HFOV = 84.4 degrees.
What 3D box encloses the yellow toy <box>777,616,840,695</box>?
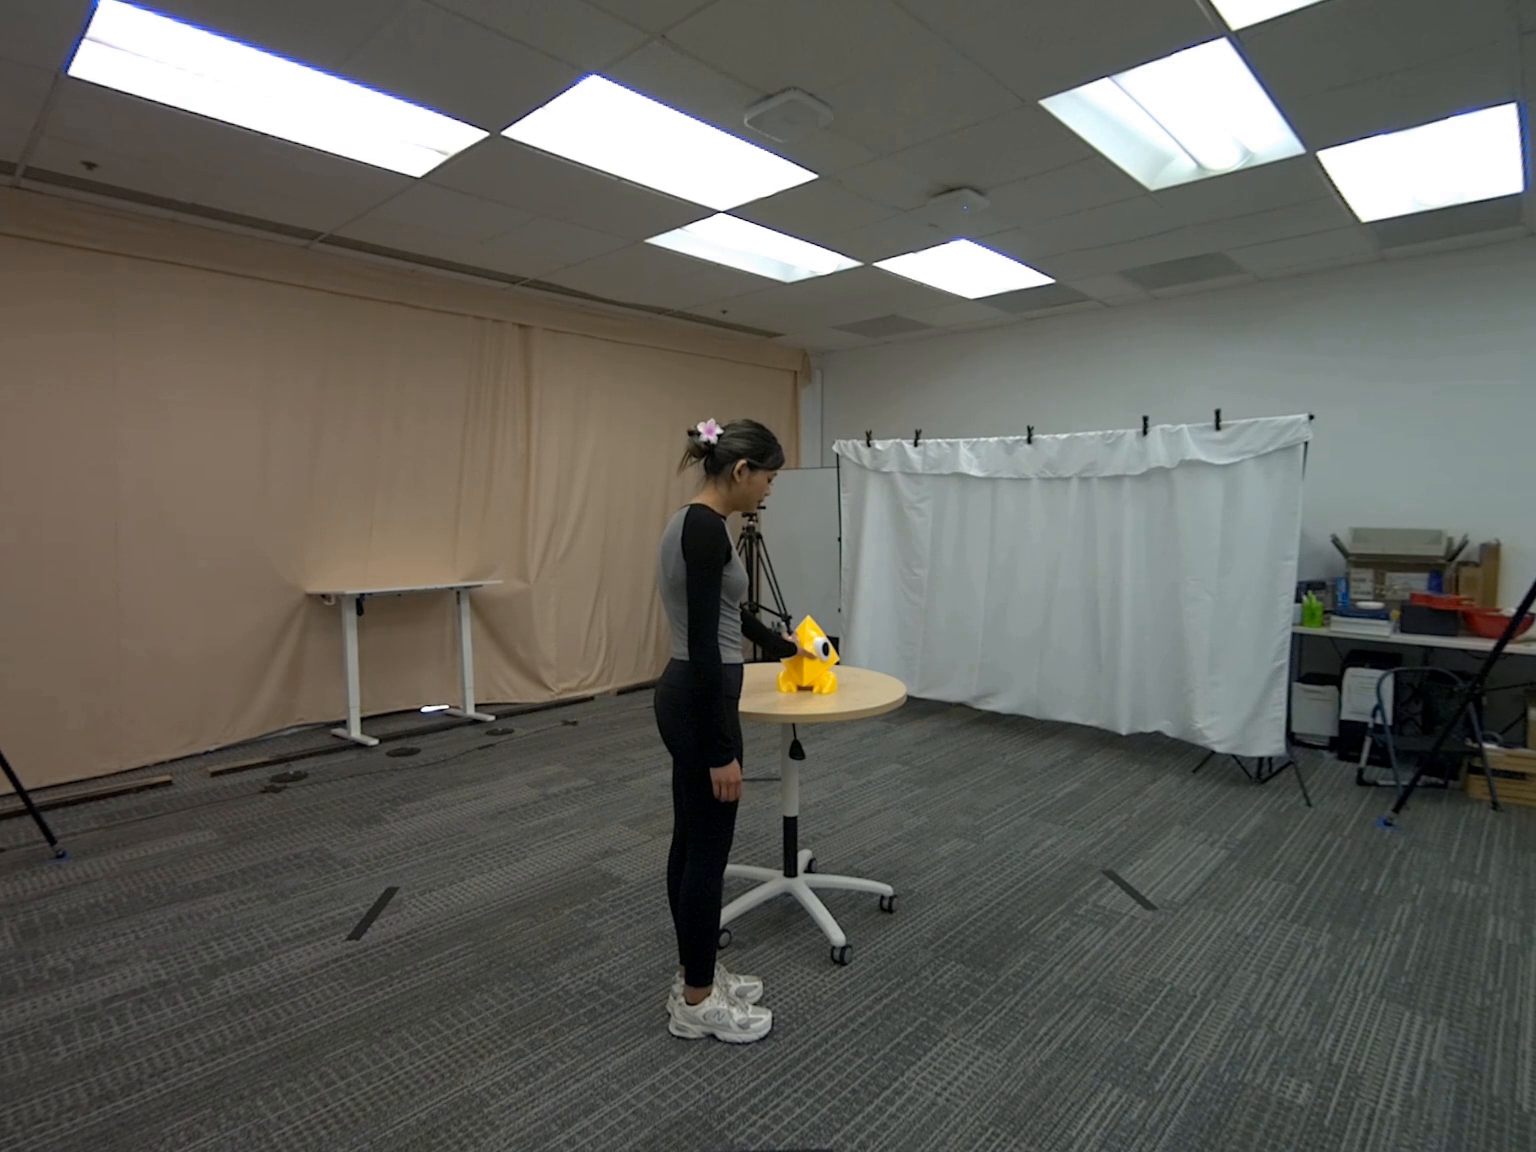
[{"bbox_3d":[0.130,0.253,2.773,0.207,0.230,0.191,0,3,11],"label":"yellow toy"}]
